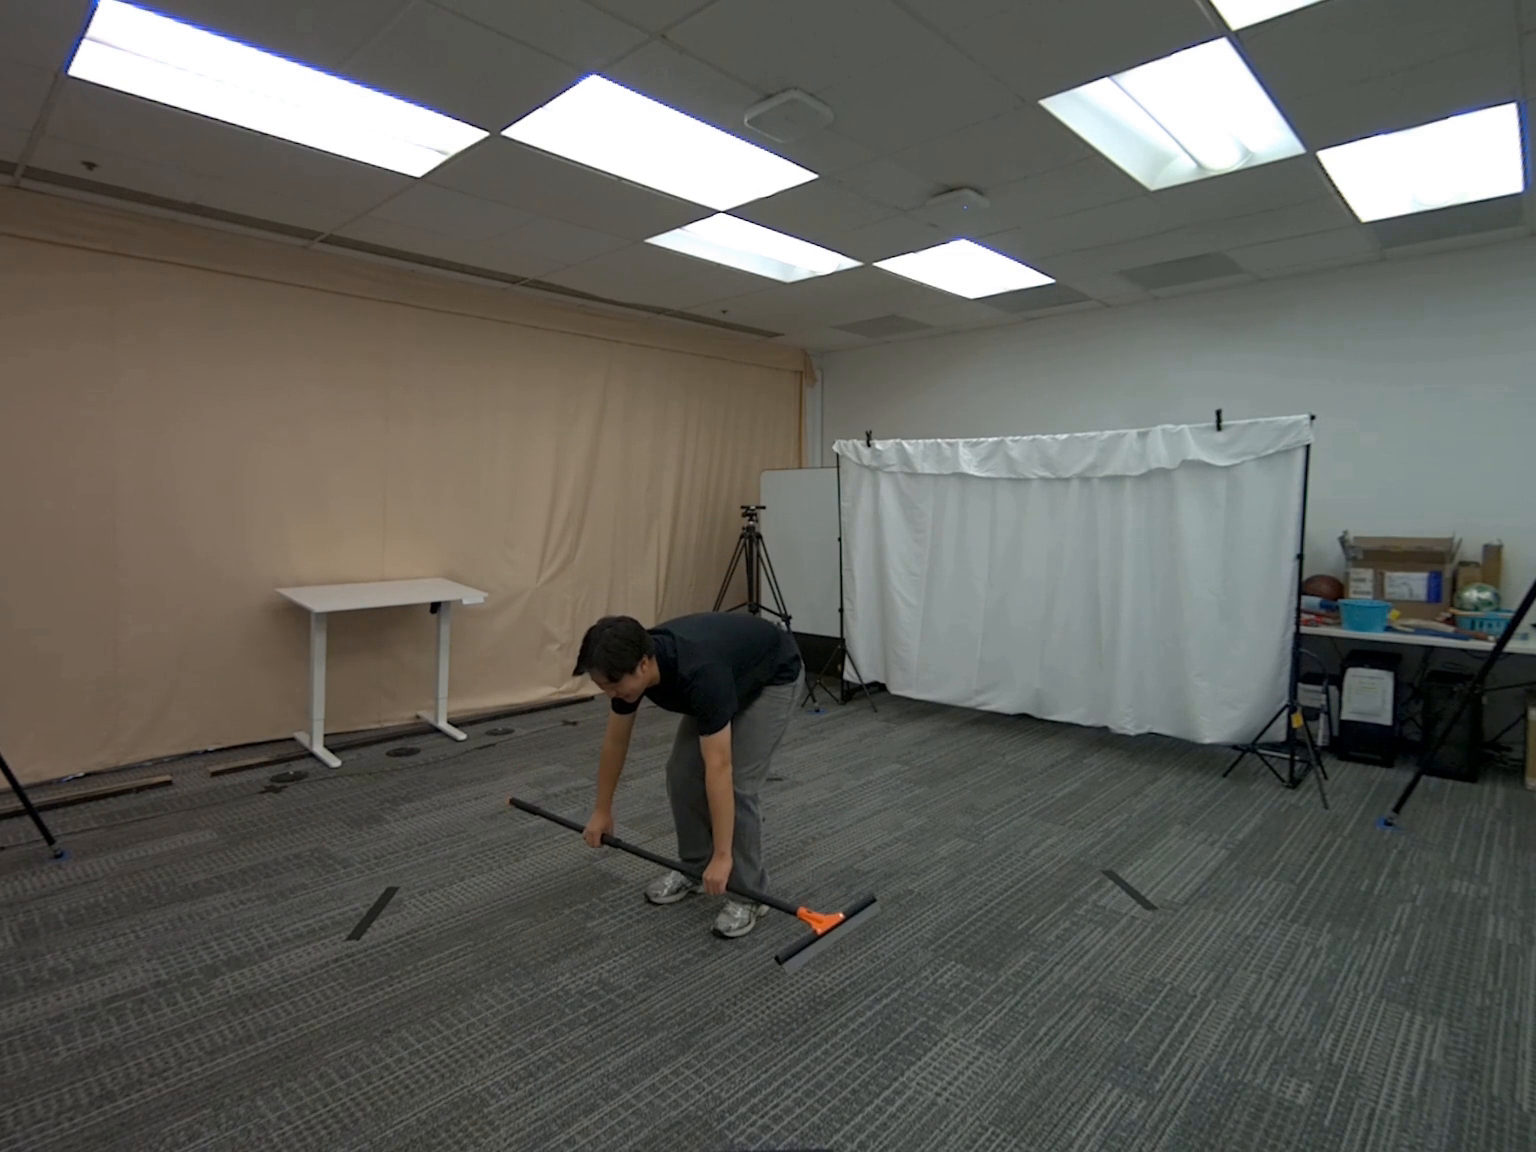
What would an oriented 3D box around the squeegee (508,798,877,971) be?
[{"bbox_3d":[-0.407,0.902,2.741,1.588,0.053,0.424,3,5,41],"label":"squeegee"}]
